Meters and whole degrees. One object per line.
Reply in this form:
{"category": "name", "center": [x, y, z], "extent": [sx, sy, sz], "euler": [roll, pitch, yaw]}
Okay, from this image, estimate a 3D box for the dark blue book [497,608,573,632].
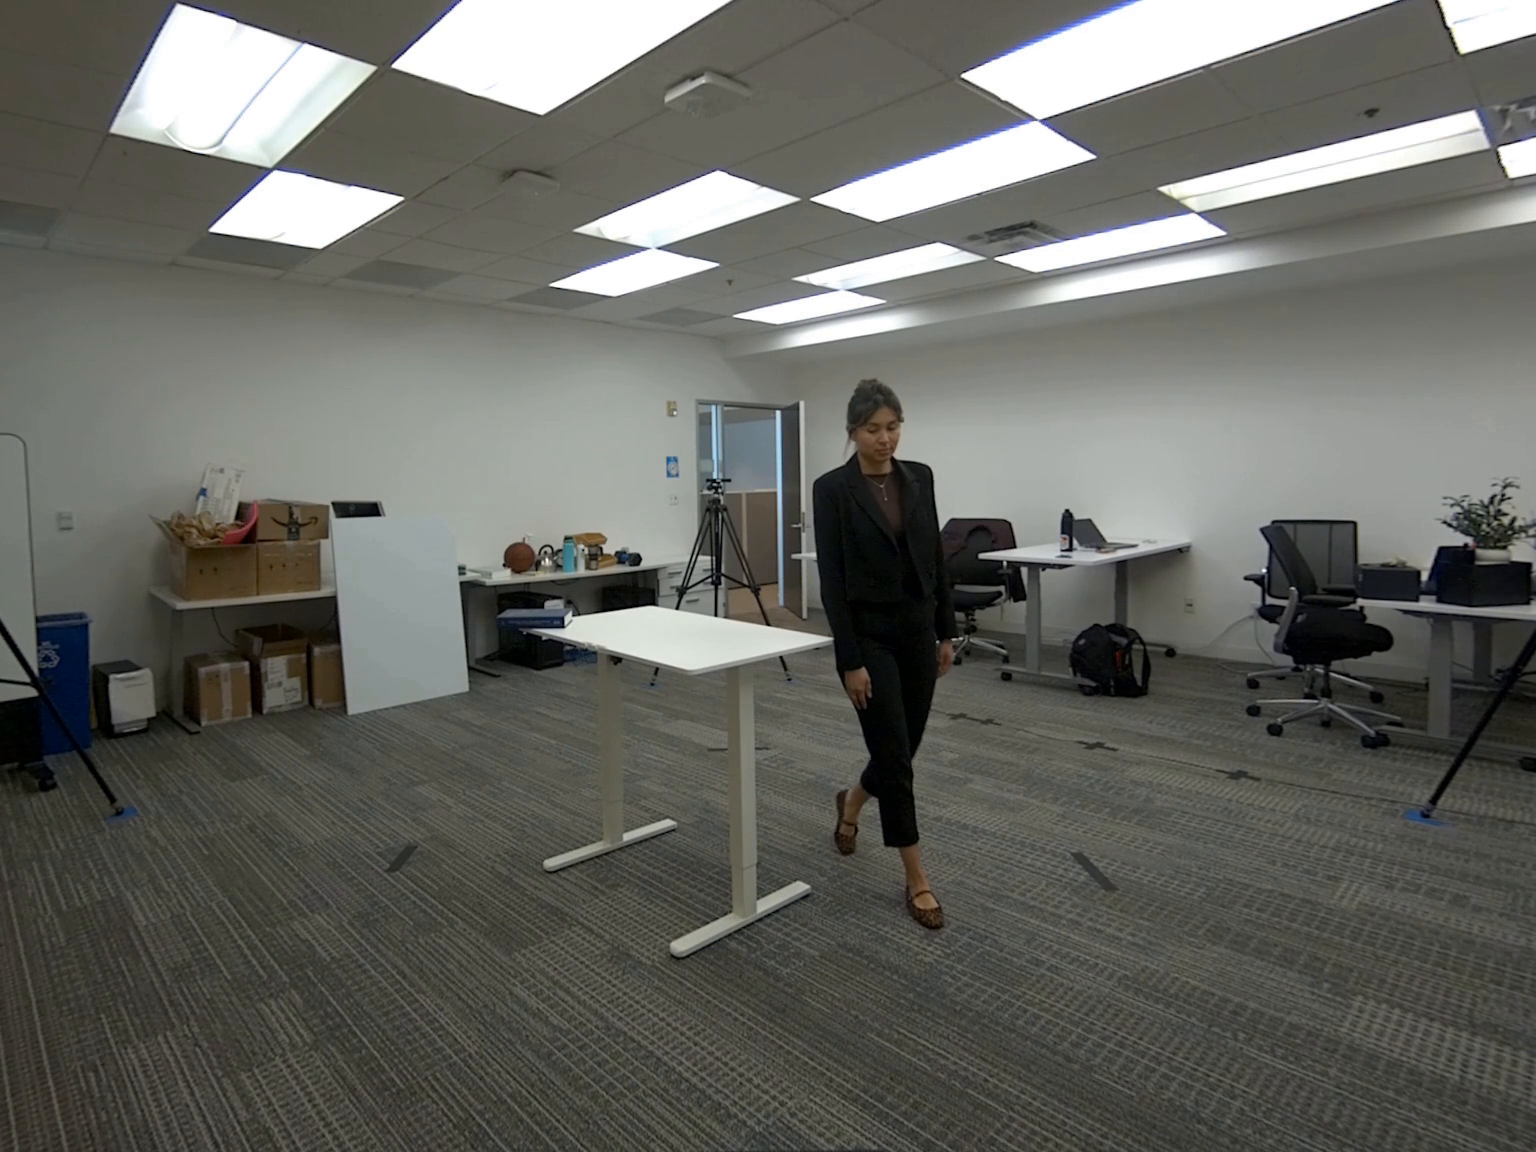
{"category": "dark blue book", "center": [-0.842, 0.153, 3.090], "extent": [0.245, 0.045, 0.164], "euler": [-1, 7, 0]}
